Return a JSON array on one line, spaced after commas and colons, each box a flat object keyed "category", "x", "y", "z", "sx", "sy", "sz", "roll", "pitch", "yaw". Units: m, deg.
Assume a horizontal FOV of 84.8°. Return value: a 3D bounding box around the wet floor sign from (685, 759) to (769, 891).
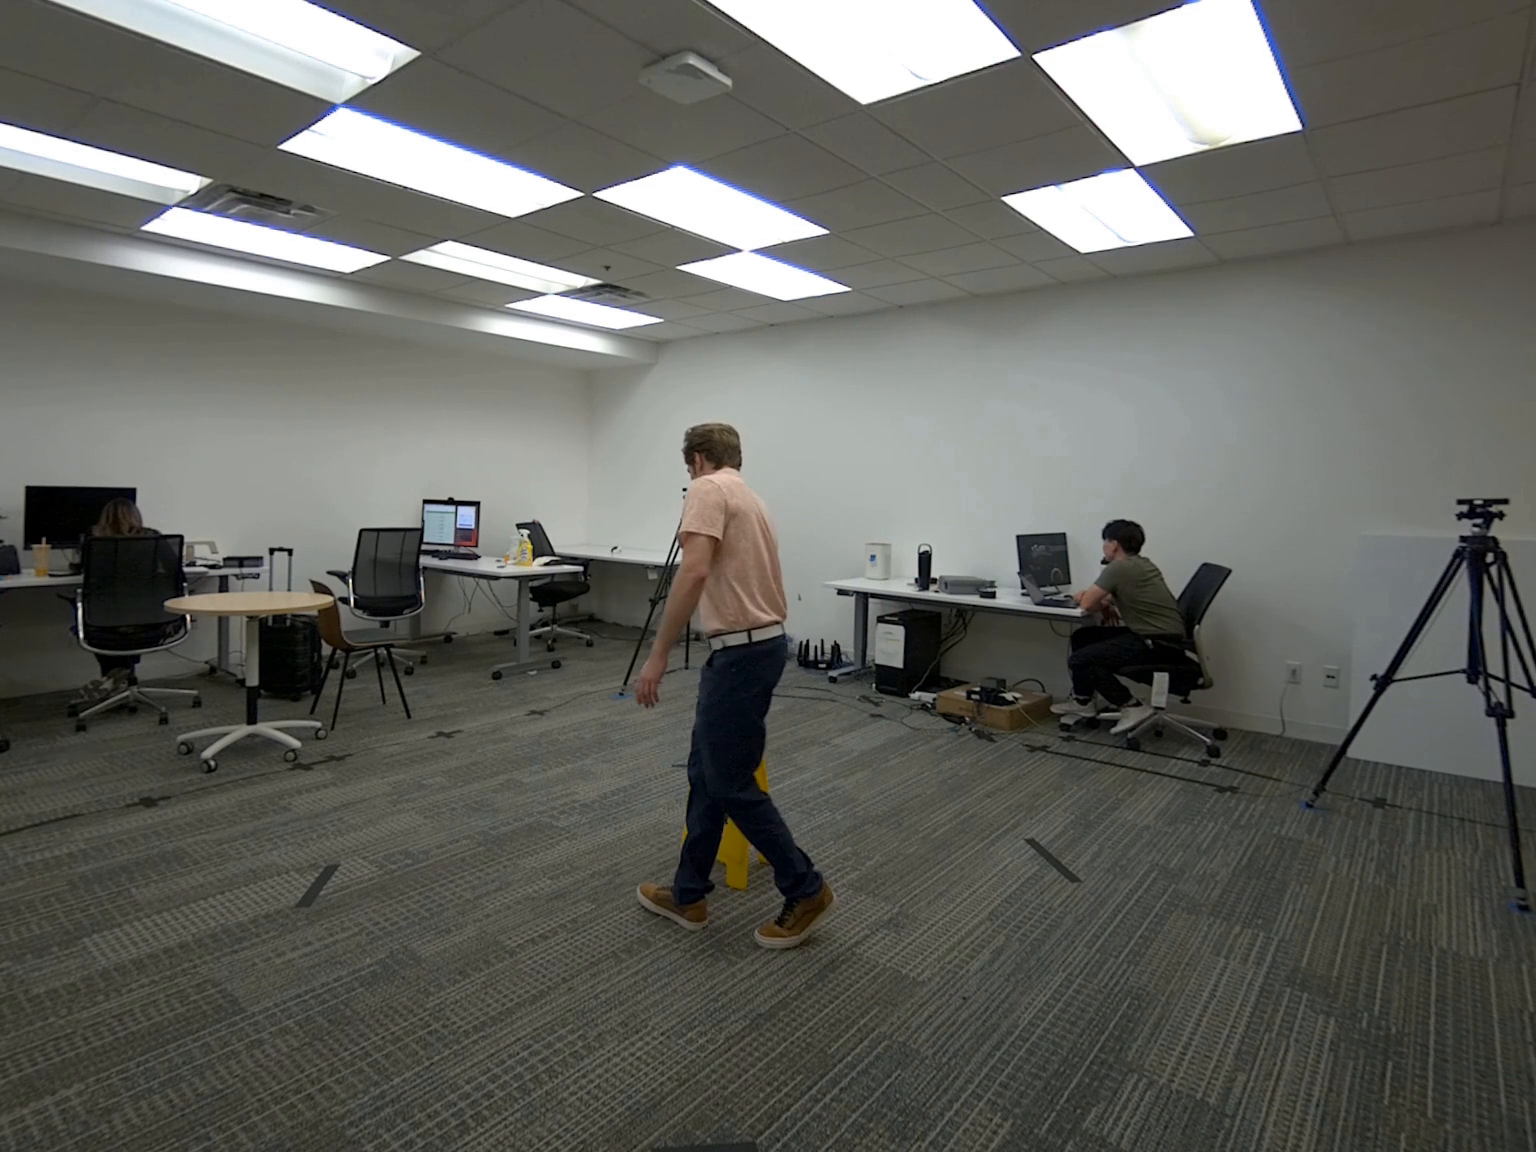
[{"category": "wet floor sign", "x": -0.154, "y": 0.743, "z": 3.100, "sx": 0.290, "sy": 0.644, "sz": 0.282, "roll": 2, "pitch": 4, "yaw": 29}]
